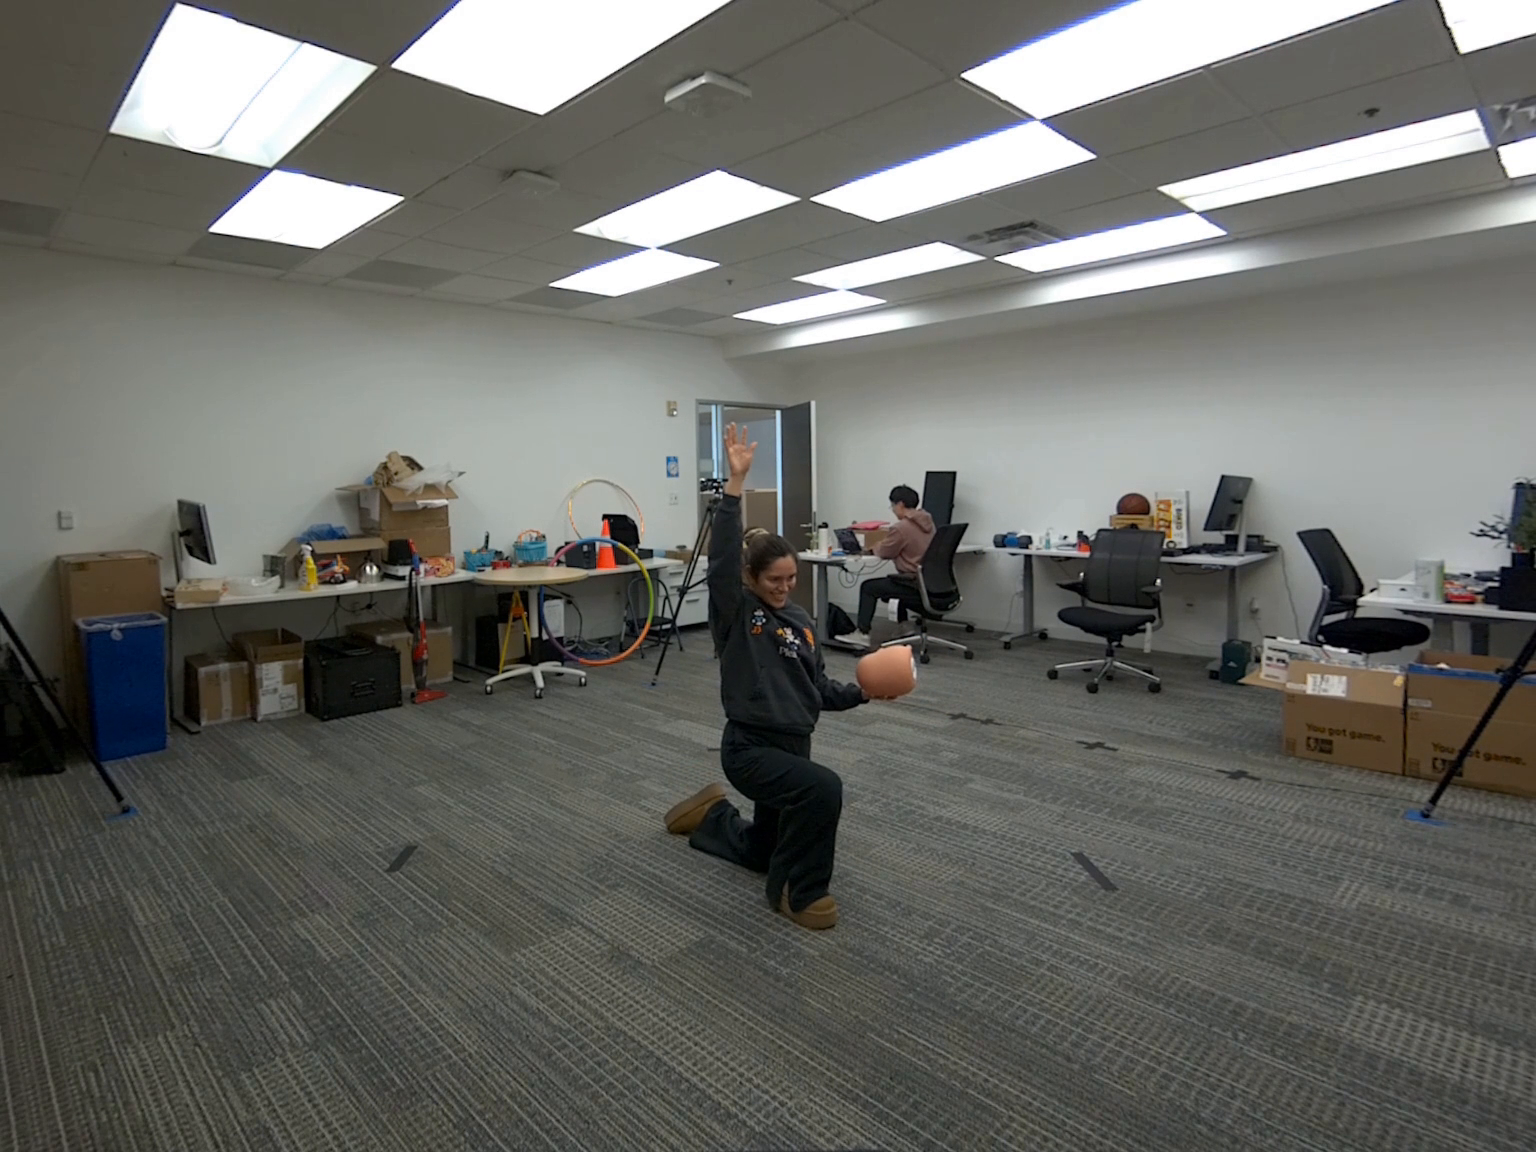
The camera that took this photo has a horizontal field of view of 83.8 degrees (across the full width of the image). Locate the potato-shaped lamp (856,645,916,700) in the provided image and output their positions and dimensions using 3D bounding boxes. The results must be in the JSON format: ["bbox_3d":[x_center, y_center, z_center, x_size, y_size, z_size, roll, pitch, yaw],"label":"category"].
[{"bbox_3d":[0.397,0.327,2.909,0.201,0.160,0.173,-6,29,20],"label":"potato-shaped lamp"}]
